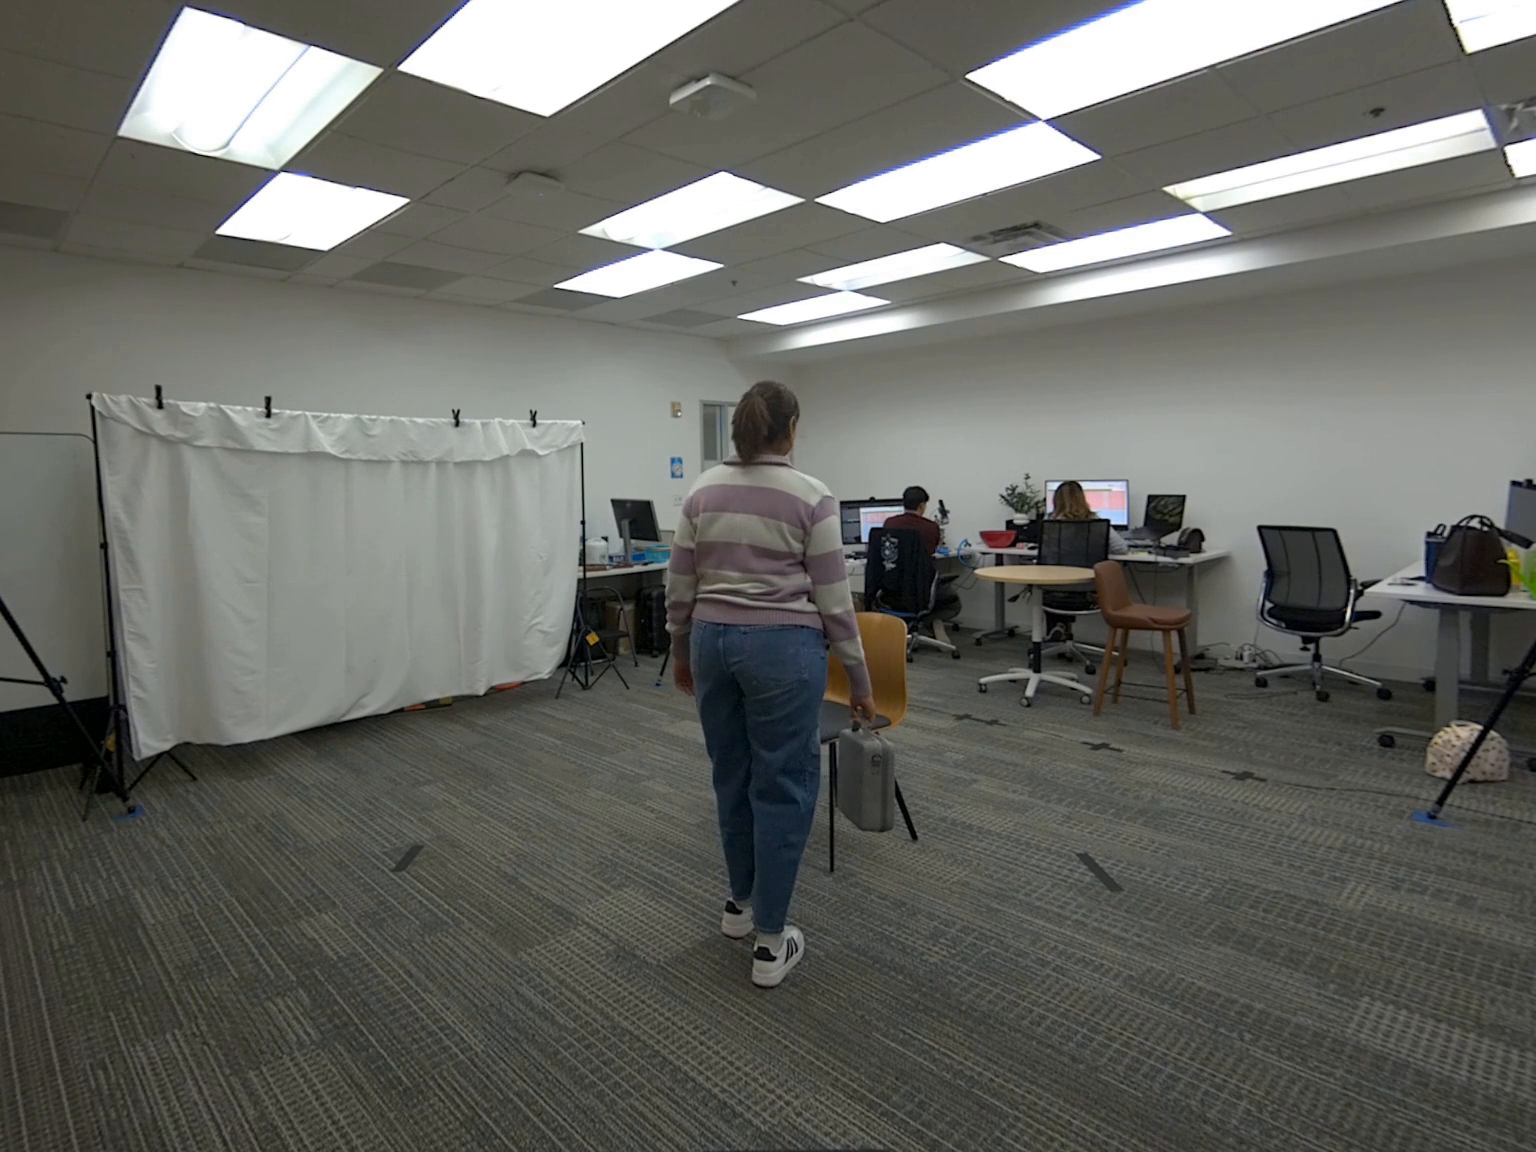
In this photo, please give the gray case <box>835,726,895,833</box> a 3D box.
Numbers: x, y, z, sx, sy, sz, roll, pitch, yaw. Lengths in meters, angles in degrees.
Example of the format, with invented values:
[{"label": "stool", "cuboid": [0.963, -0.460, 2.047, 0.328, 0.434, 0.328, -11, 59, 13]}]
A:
[{"label": "gray case", "cuboid": [0.280, 0.583, 2.486, 0.103, 0.261, 0.258, 3, -3, -11]}]
